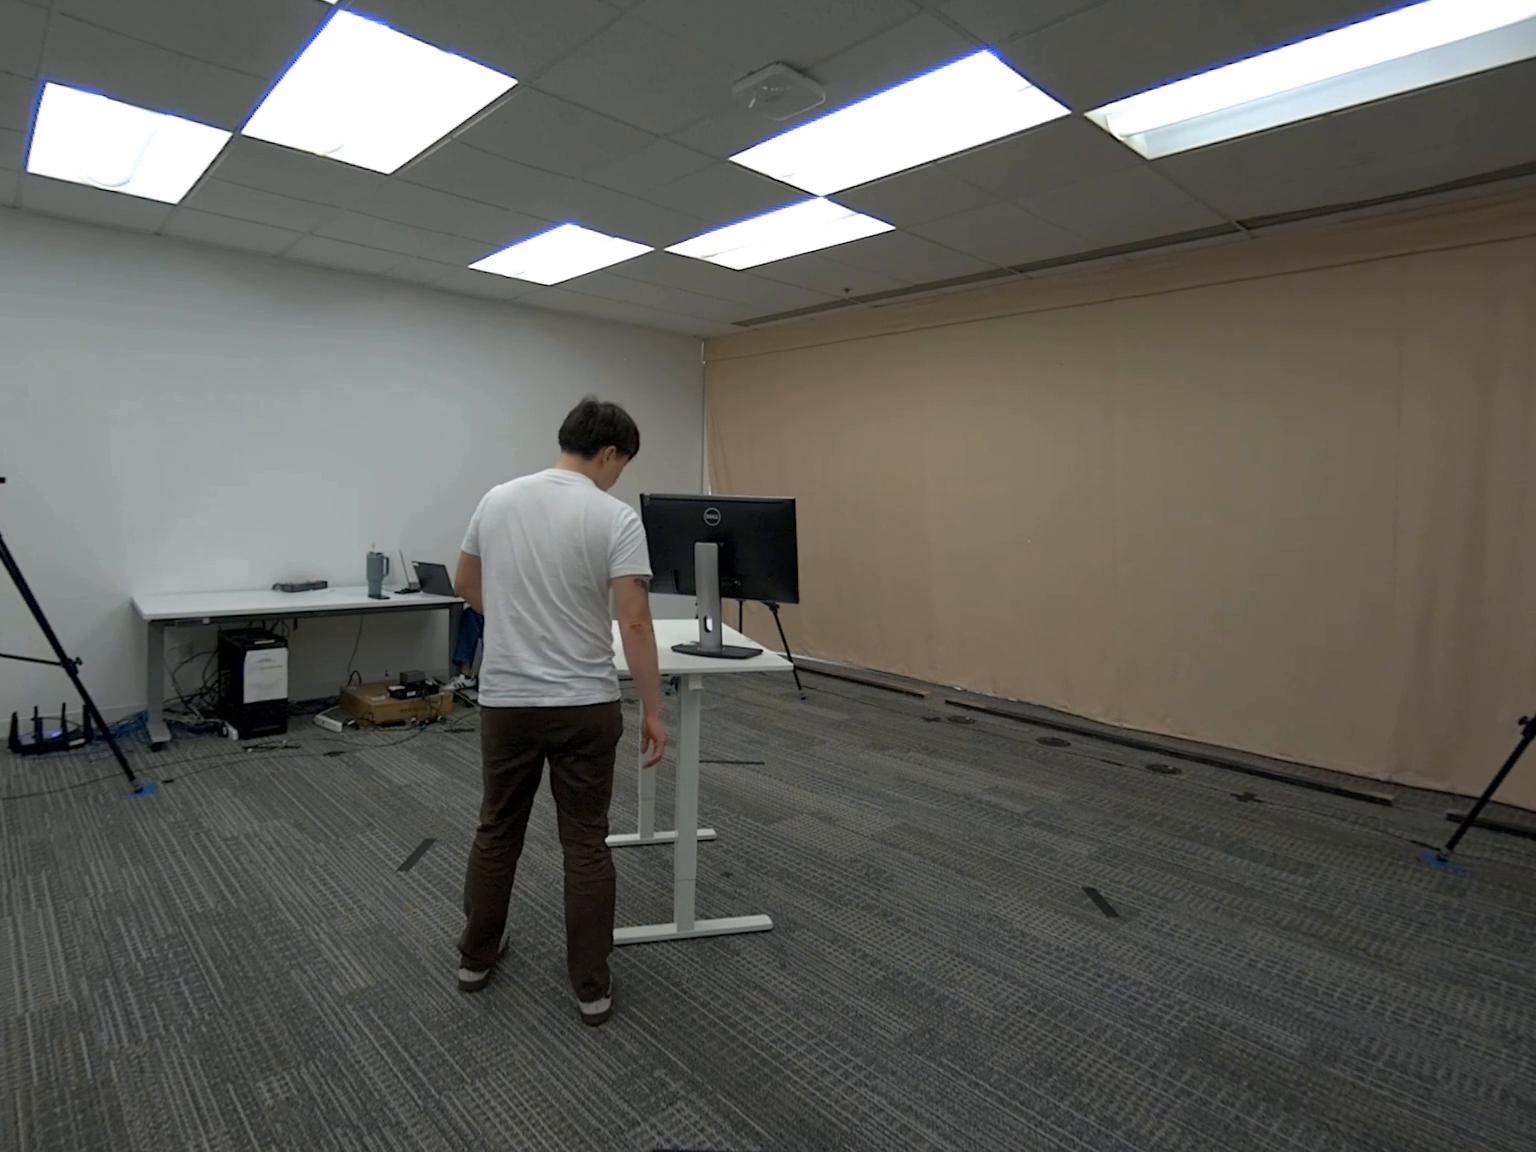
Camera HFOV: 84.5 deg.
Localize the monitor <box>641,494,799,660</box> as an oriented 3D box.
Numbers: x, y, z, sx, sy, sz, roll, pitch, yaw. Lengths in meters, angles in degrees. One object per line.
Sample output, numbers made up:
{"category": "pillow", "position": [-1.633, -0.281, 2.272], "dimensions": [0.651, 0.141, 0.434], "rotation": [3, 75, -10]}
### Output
{"category": "monitor", "position": [-0.177, 0.001, 2.729], "dimensions": [0.547, 0.521, 0.185], "rotation": [3, 5, 19]}
